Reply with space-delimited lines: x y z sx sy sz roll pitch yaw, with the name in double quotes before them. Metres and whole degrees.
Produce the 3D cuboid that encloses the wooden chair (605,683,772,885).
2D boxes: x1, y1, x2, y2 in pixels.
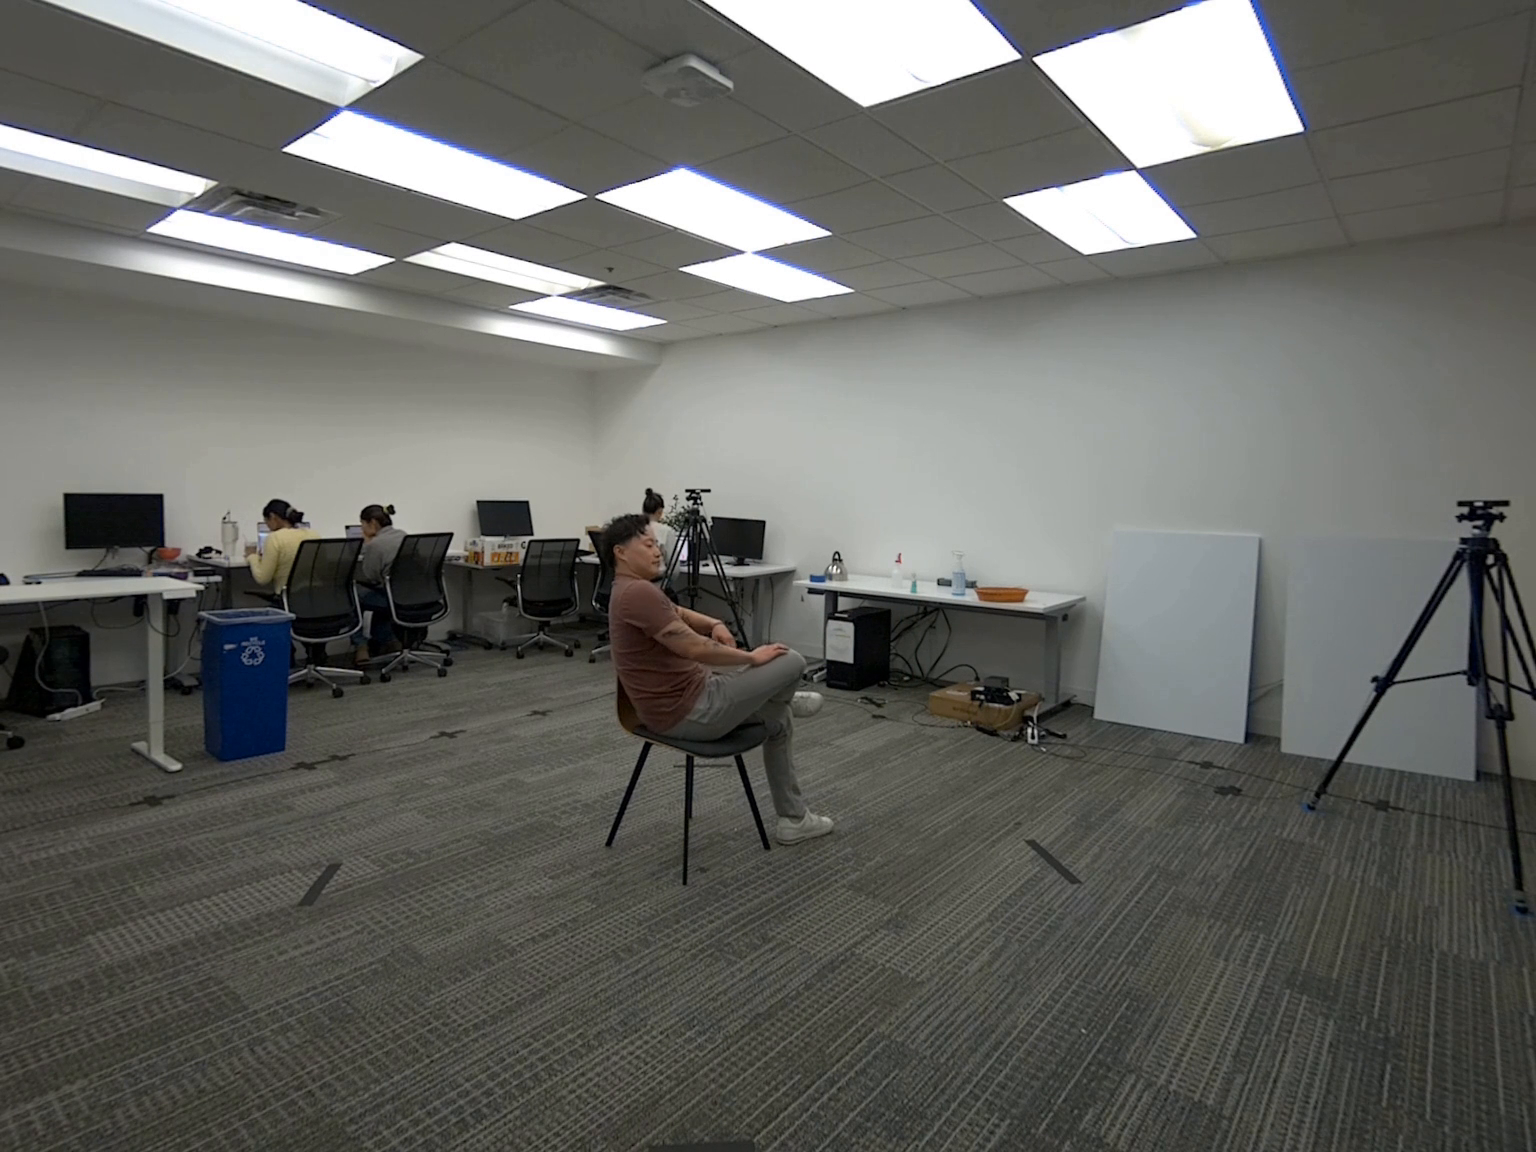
"wooden chair" -0.309 0.629 3.270 0.539 0.878 0.463 -2 0 44
